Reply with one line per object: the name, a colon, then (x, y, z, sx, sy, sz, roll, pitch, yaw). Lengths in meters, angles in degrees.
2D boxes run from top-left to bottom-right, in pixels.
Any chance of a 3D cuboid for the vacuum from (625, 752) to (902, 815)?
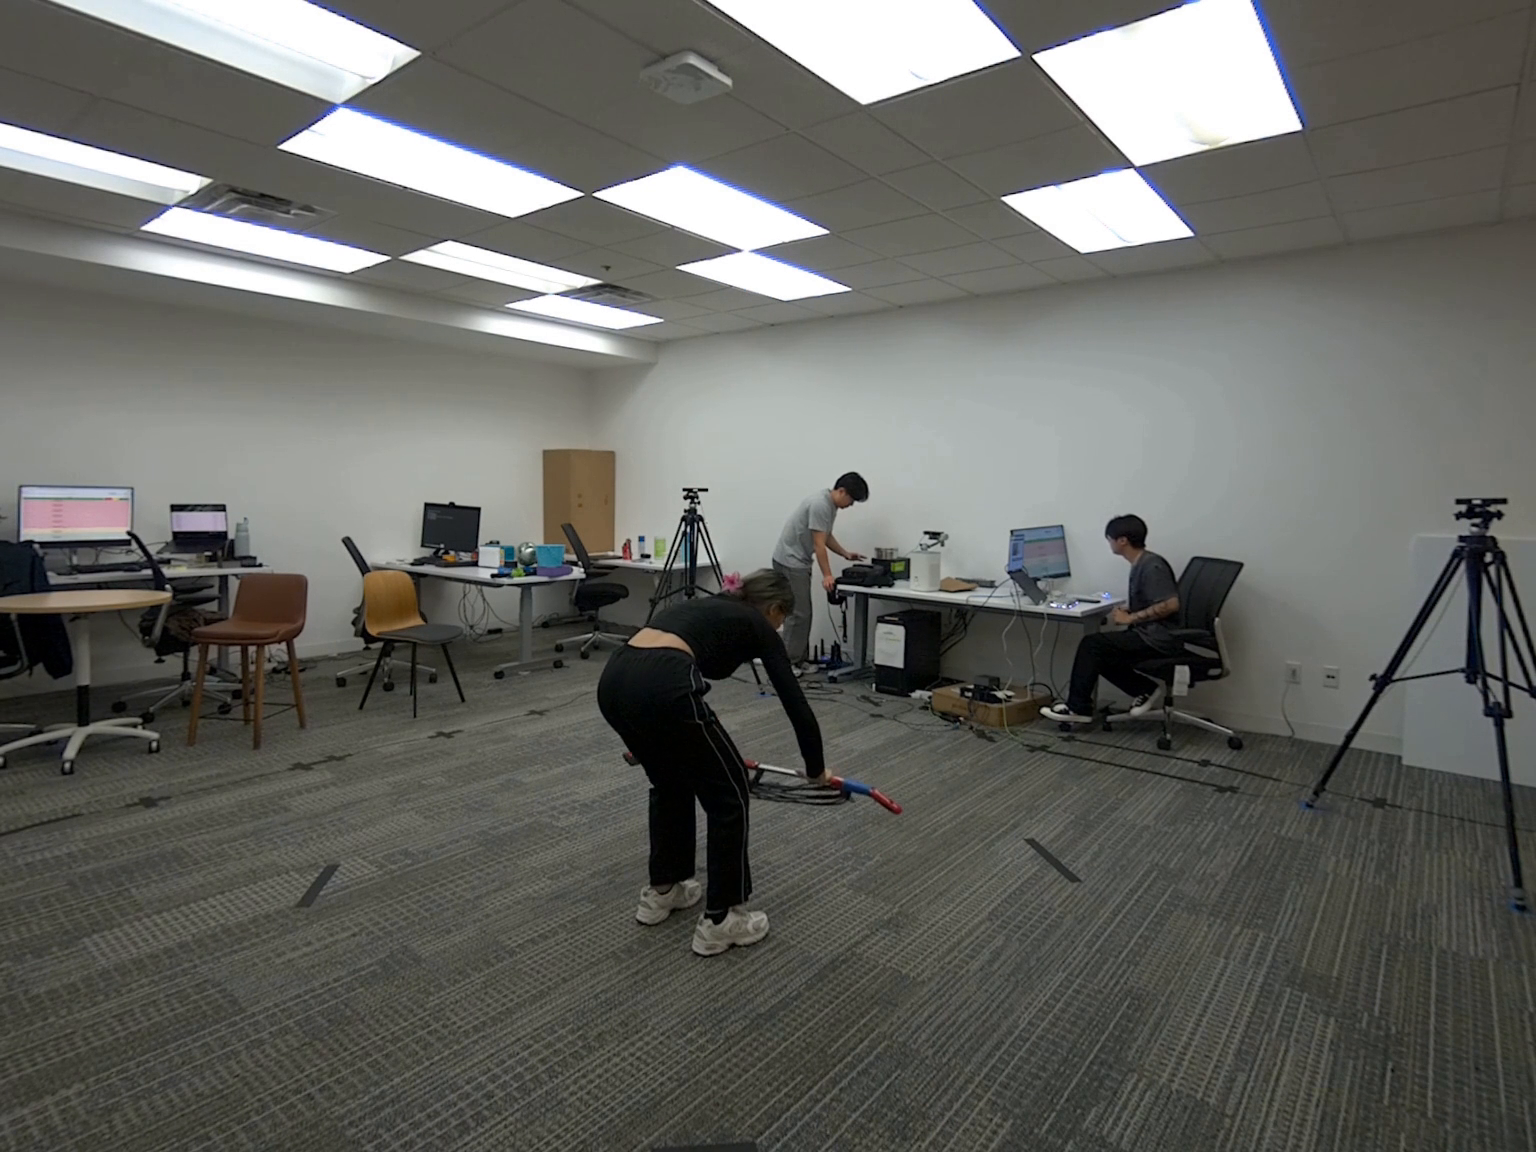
vacuum: (-0.027, 0.716, 2.992, 1.083, 0.142, 0.248, 2, 16, 38)
